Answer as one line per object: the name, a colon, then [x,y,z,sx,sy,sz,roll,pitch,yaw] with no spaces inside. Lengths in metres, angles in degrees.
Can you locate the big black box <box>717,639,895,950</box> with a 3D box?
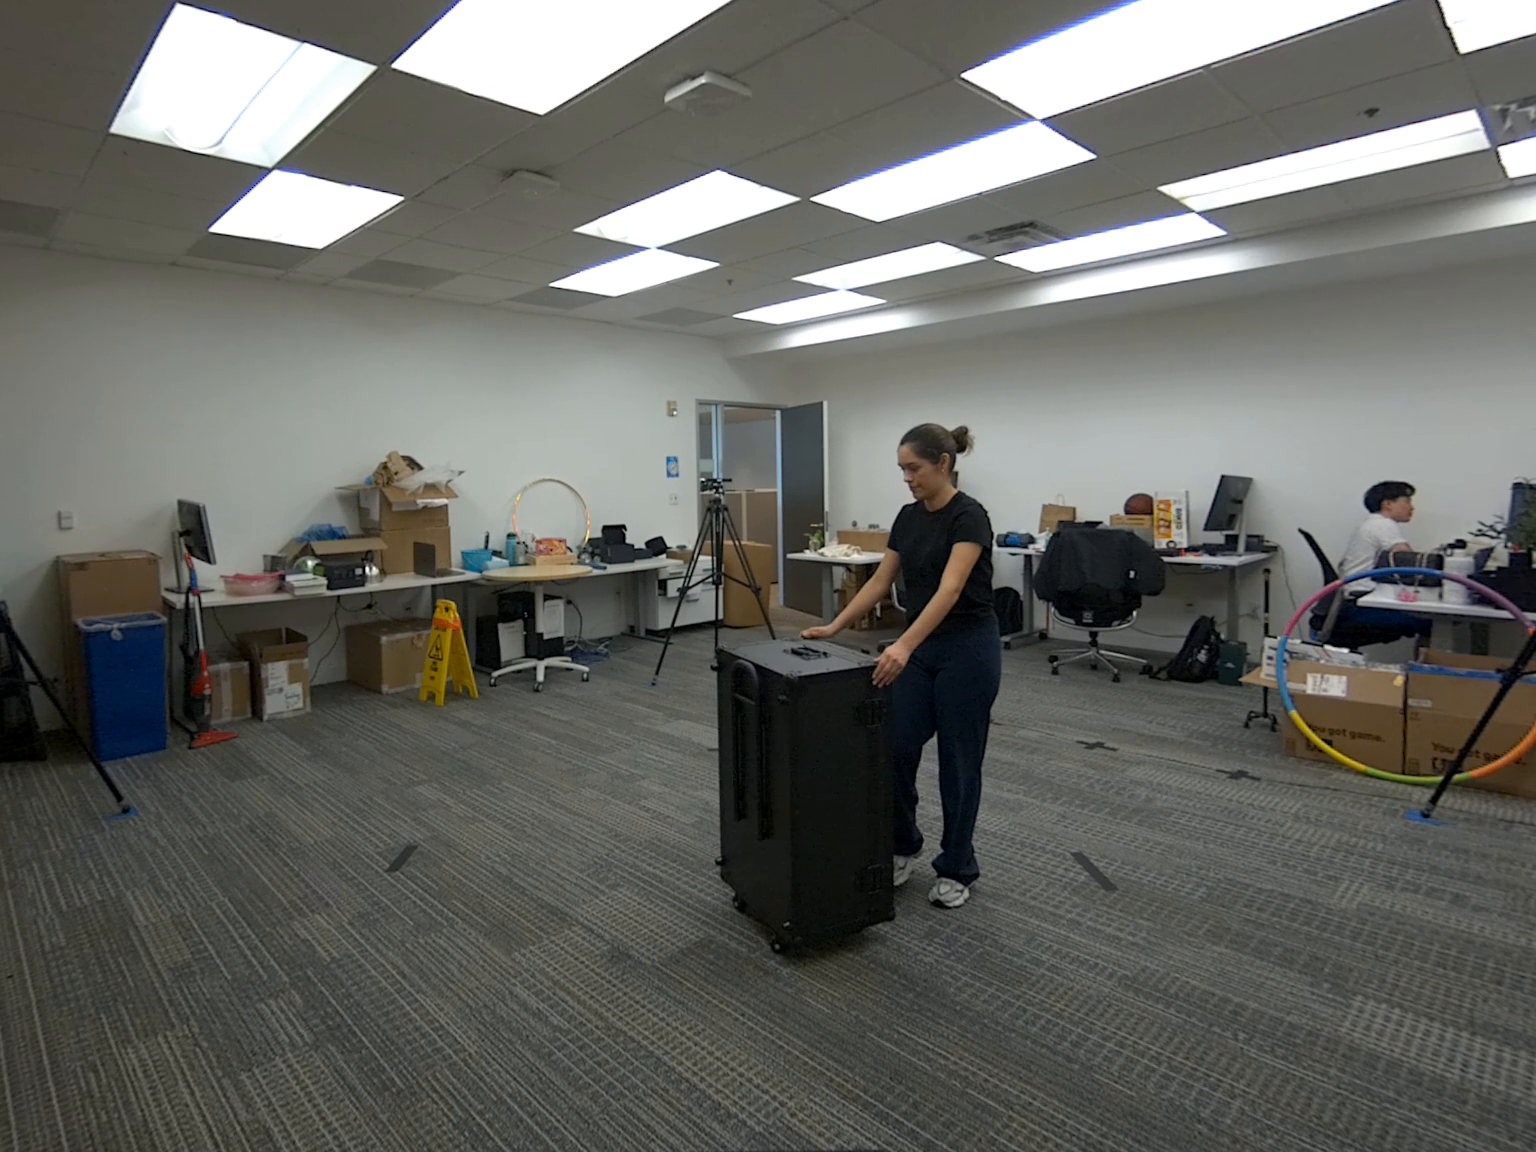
big black box: [0.101,0.663,2.678,0.388,0.858,0.535,-4,5,-27]
